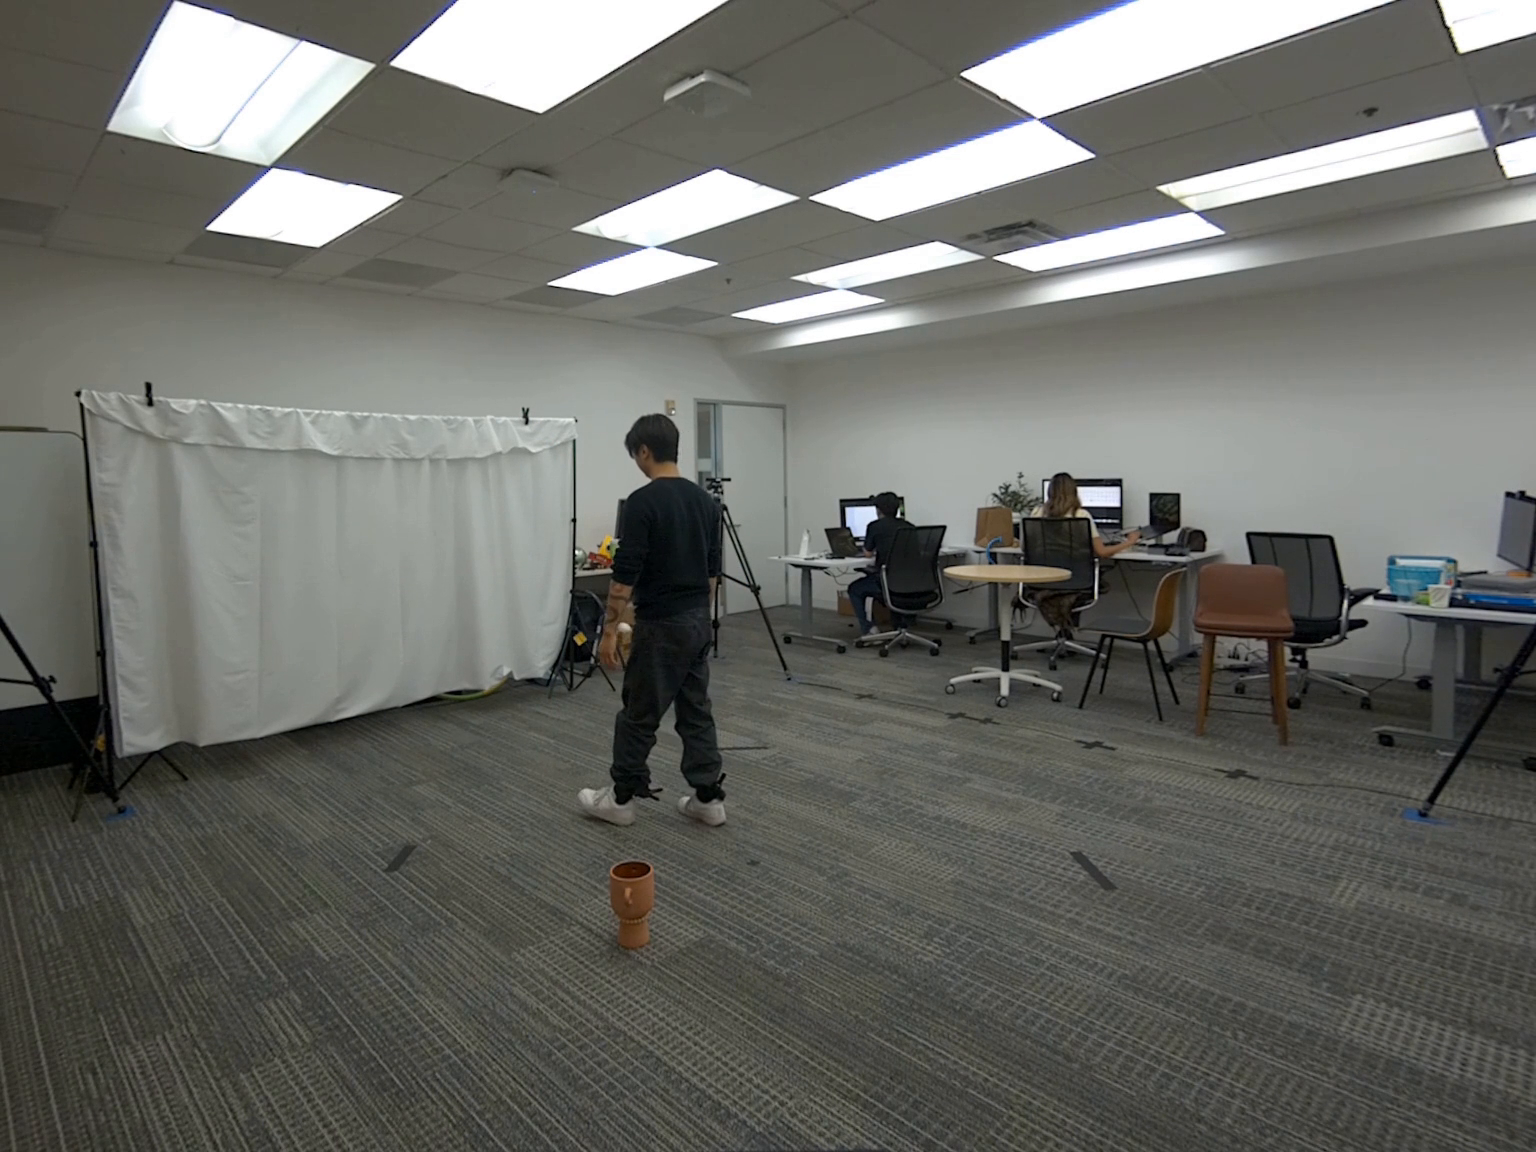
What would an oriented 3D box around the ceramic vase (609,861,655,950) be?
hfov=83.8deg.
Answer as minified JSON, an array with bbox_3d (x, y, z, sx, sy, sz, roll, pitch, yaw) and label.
[{"bbox_3d":[-0.414,1.003,2.594,0.139,0.219,0.155,2,6,40],"label":"ceramic vase"}]
